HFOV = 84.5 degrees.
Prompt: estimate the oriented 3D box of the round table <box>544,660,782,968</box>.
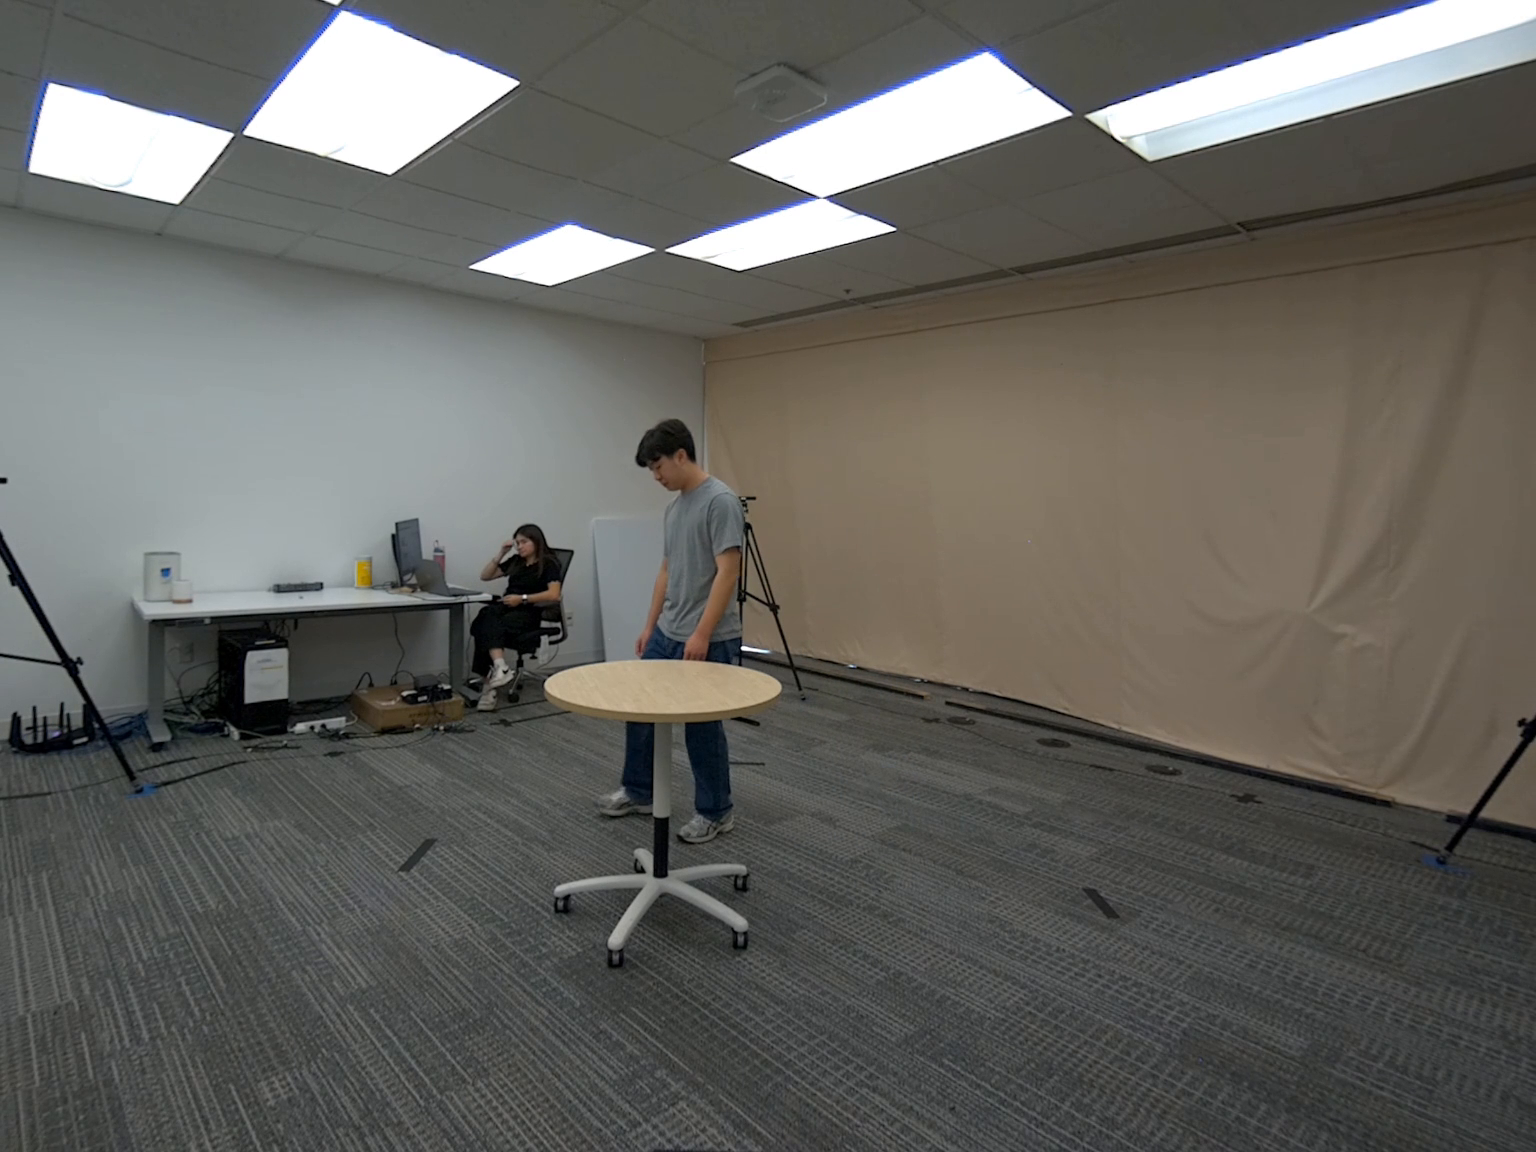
[{"bbox_3d":[-0.354,0.745,2.762,0.763,0.792,0.767,1,4,-1],"label":"round table"}]
